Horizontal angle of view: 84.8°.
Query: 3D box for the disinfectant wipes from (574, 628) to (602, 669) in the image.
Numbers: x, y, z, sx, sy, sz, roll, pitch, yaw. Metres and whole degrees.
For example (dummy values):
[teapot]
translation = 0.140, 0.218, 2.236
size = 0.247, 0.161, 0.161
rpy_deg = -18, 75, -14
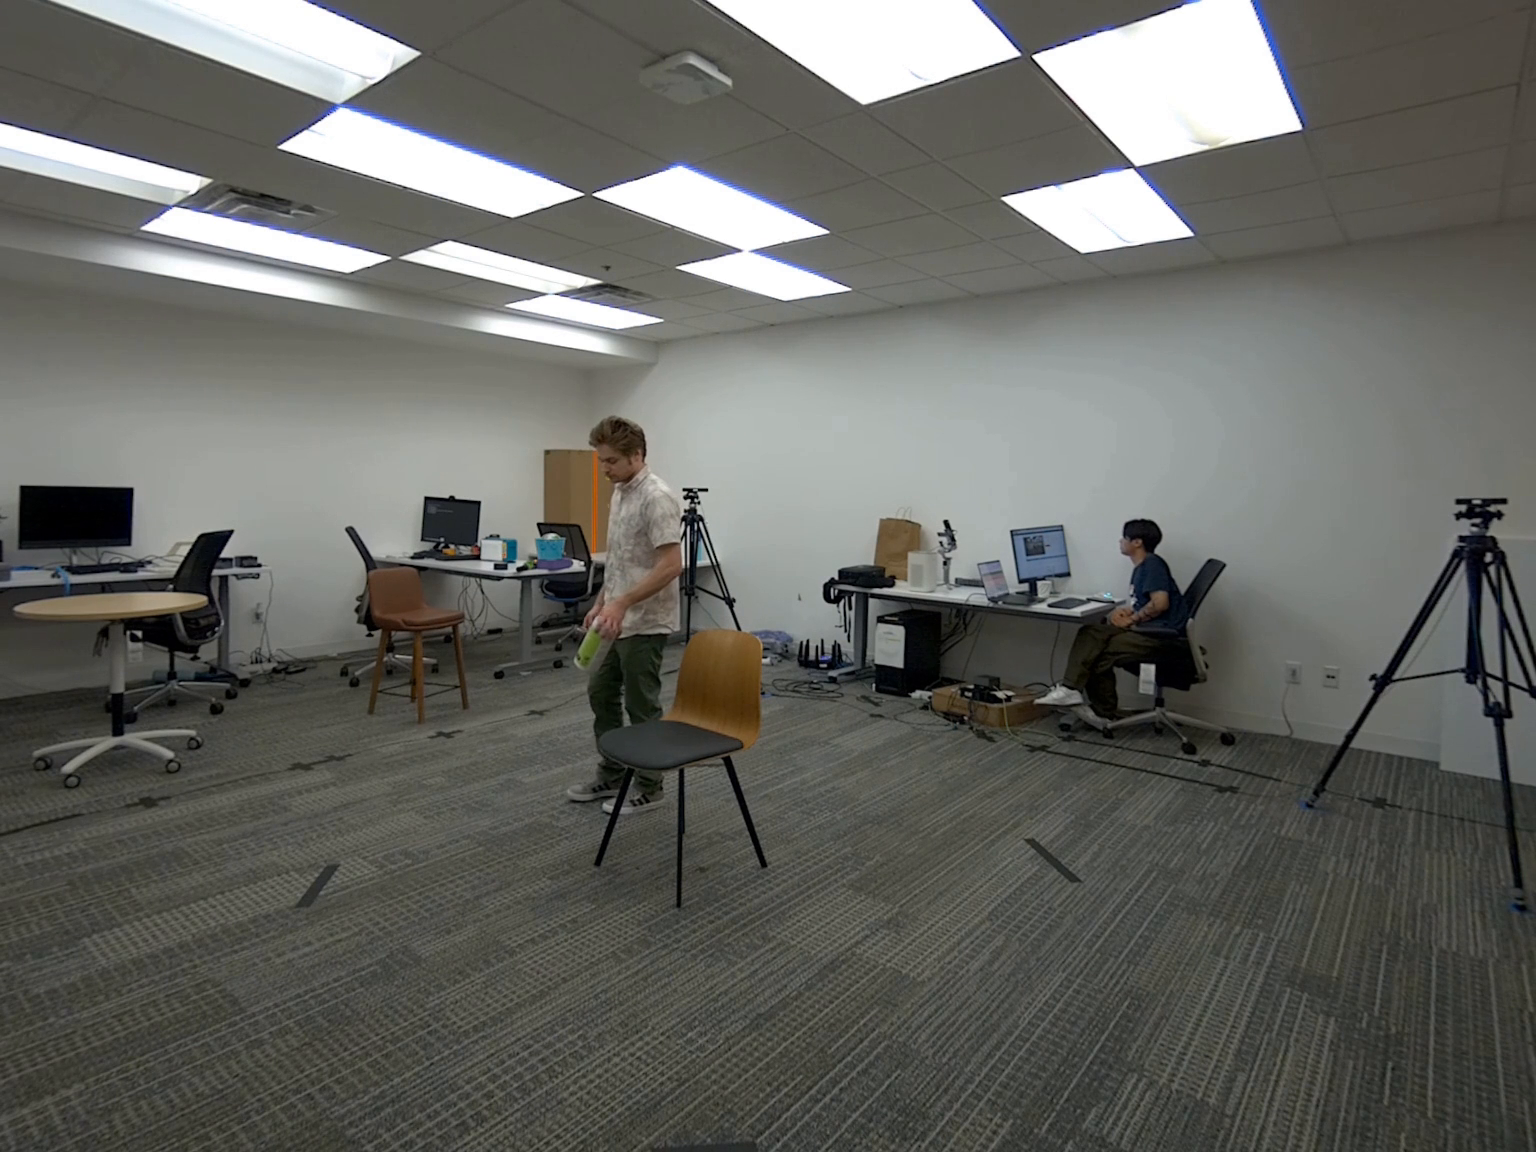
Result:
[disinfectant wipes]
translation = -0.723, 0.281, 3.425
size = 0.116, 0.216, 0.120
rpy_deg = 24, 18, -11
